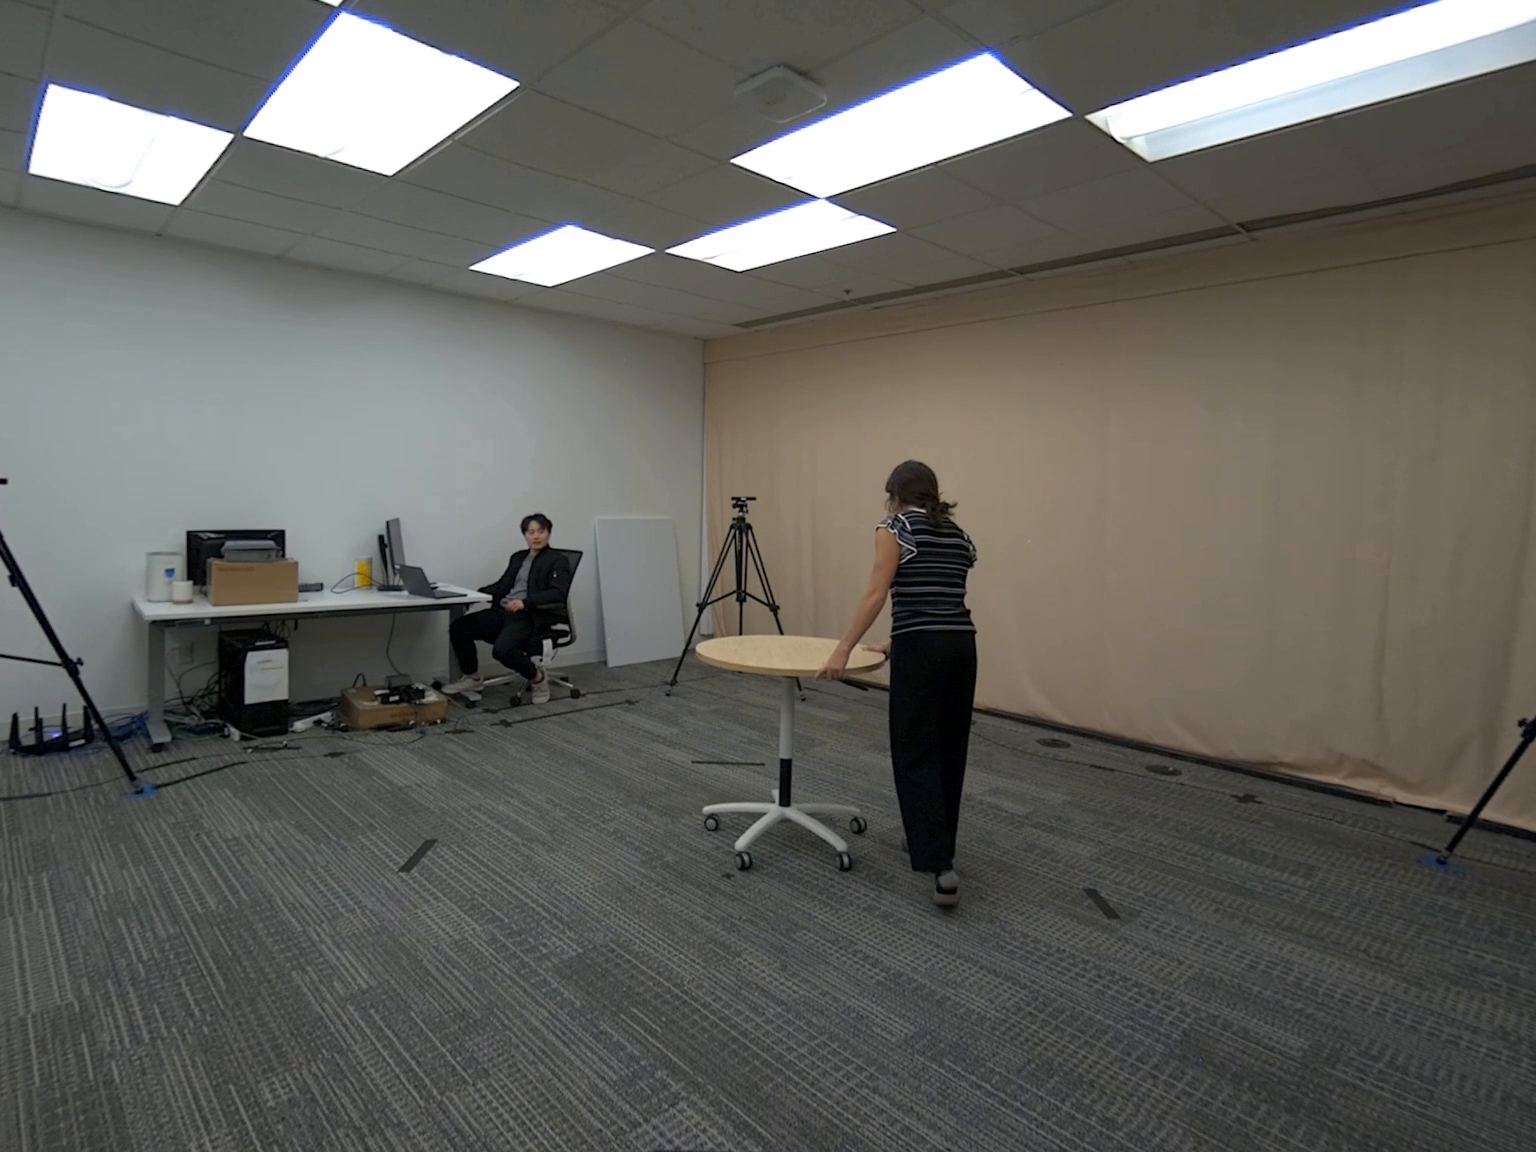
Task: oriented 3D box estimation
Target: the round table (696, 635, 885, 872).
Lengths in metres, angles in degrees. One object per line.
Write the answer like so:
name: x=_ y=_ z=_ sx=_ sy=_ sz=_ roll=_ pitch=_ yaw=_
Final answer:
round table: x=0.063 y=0.694 z=3.439 sx=0.763 sy=0.792 sz=0.766 roll=2 pitch=3 yaw=-1
